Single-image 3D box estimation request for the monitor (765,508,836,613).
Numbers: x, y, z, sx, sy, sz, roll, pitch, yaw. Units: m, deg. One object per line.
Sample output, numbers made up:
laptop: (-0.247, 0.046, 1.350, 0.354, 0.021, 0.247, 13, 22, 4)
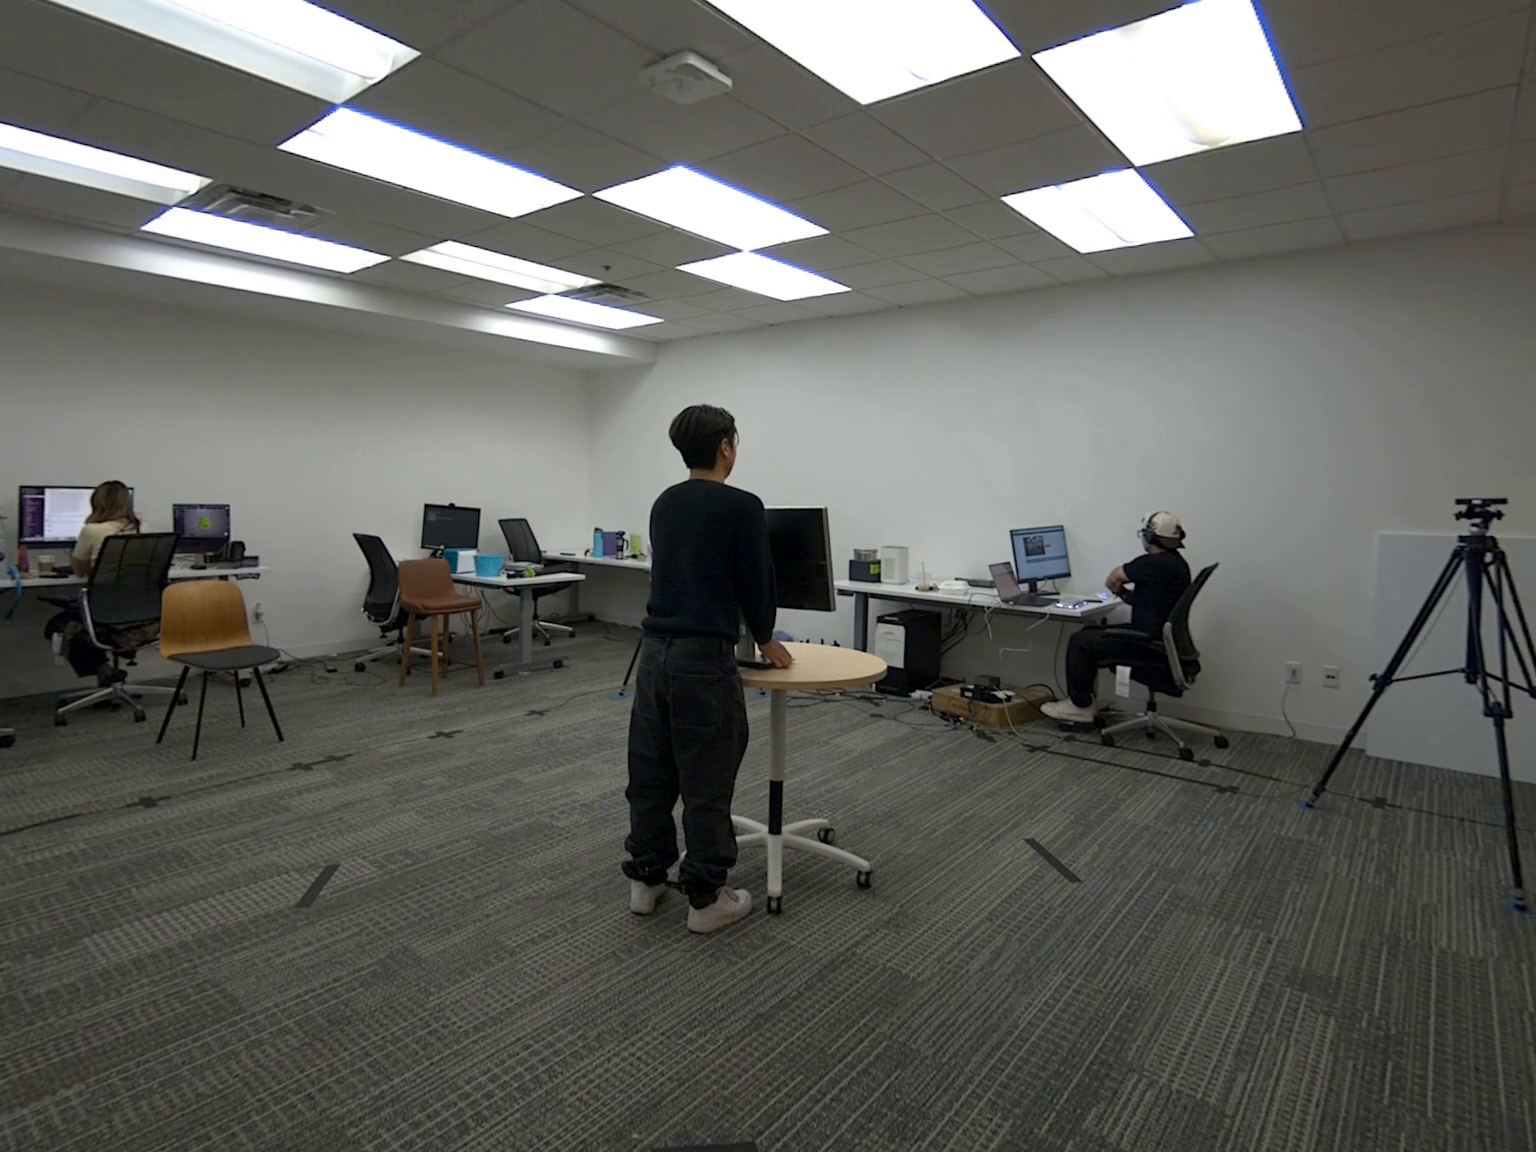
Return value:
monitor: (-0.052, 0.025, 3.005, 0.556, 0.522, 0.181, 3, 1, 35)
